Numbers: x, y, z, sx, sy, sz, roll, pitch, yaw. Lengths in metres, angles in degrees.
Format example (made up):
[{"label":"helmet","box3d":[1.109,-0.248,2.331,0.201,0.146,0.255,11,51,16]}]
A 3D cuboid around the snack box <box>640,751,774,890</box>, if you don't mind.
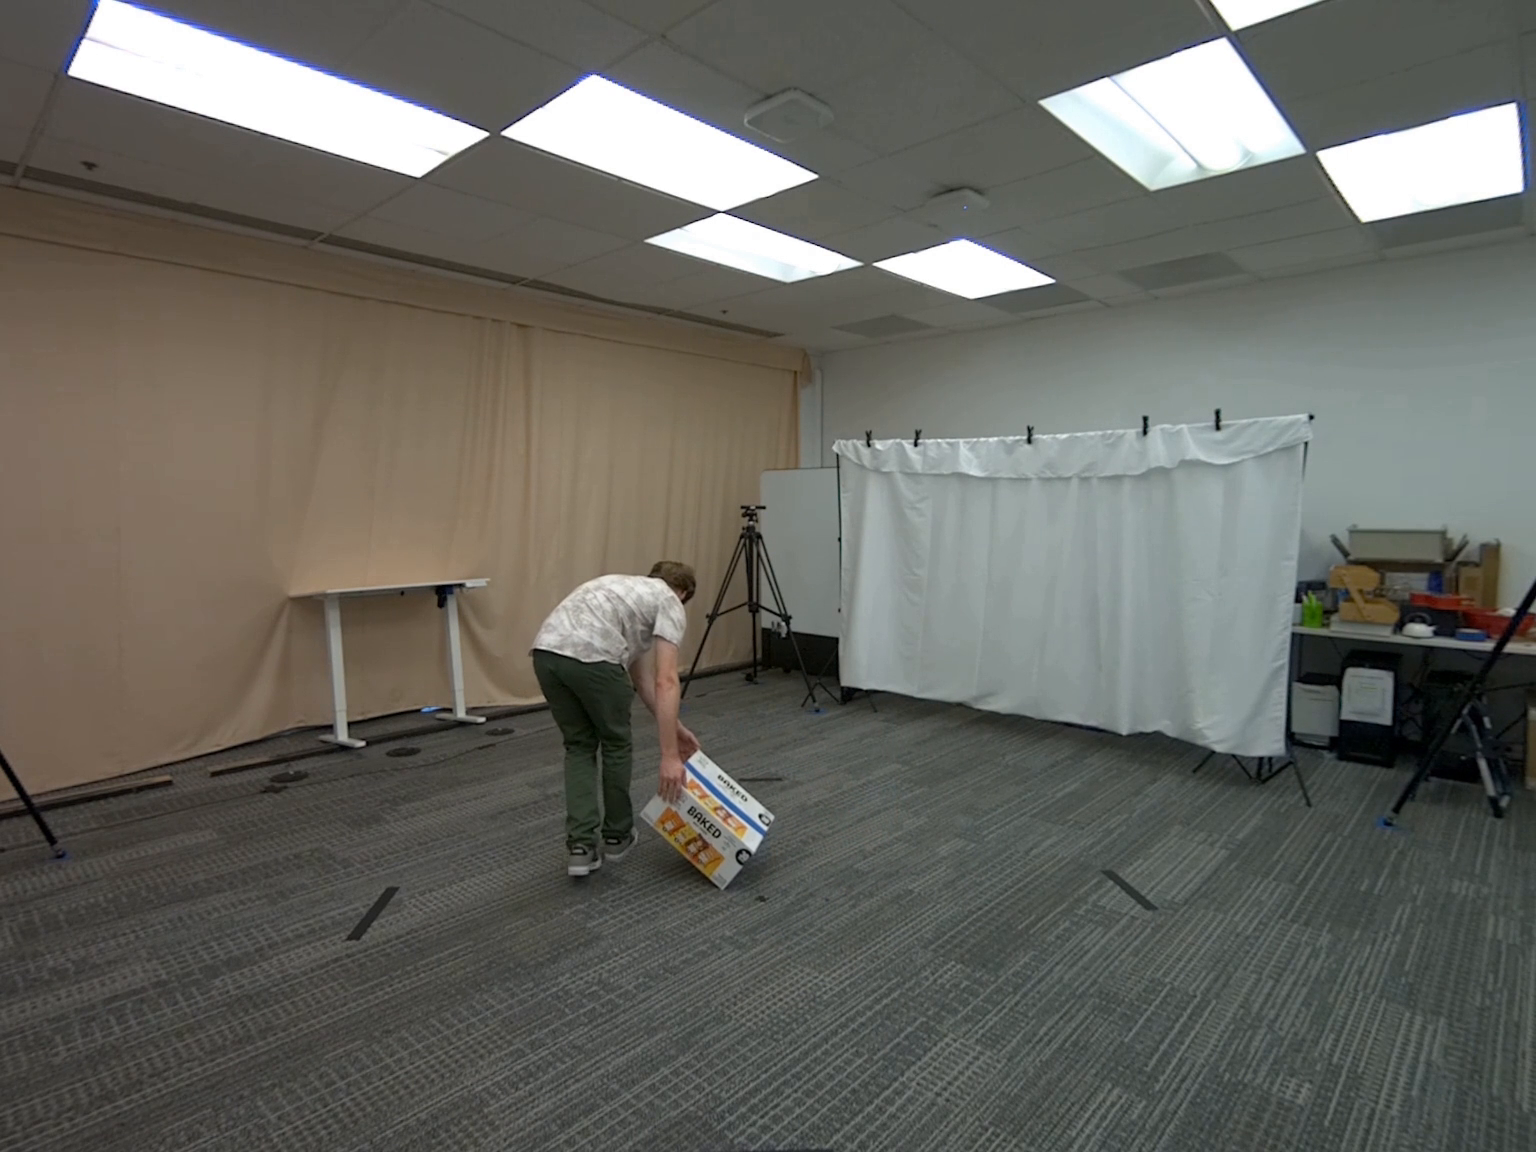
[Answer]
[{"label":"snack box","box3d":[-0.221,0.922,3.223,0.410,0.206,0.336,39,13,9]}]
